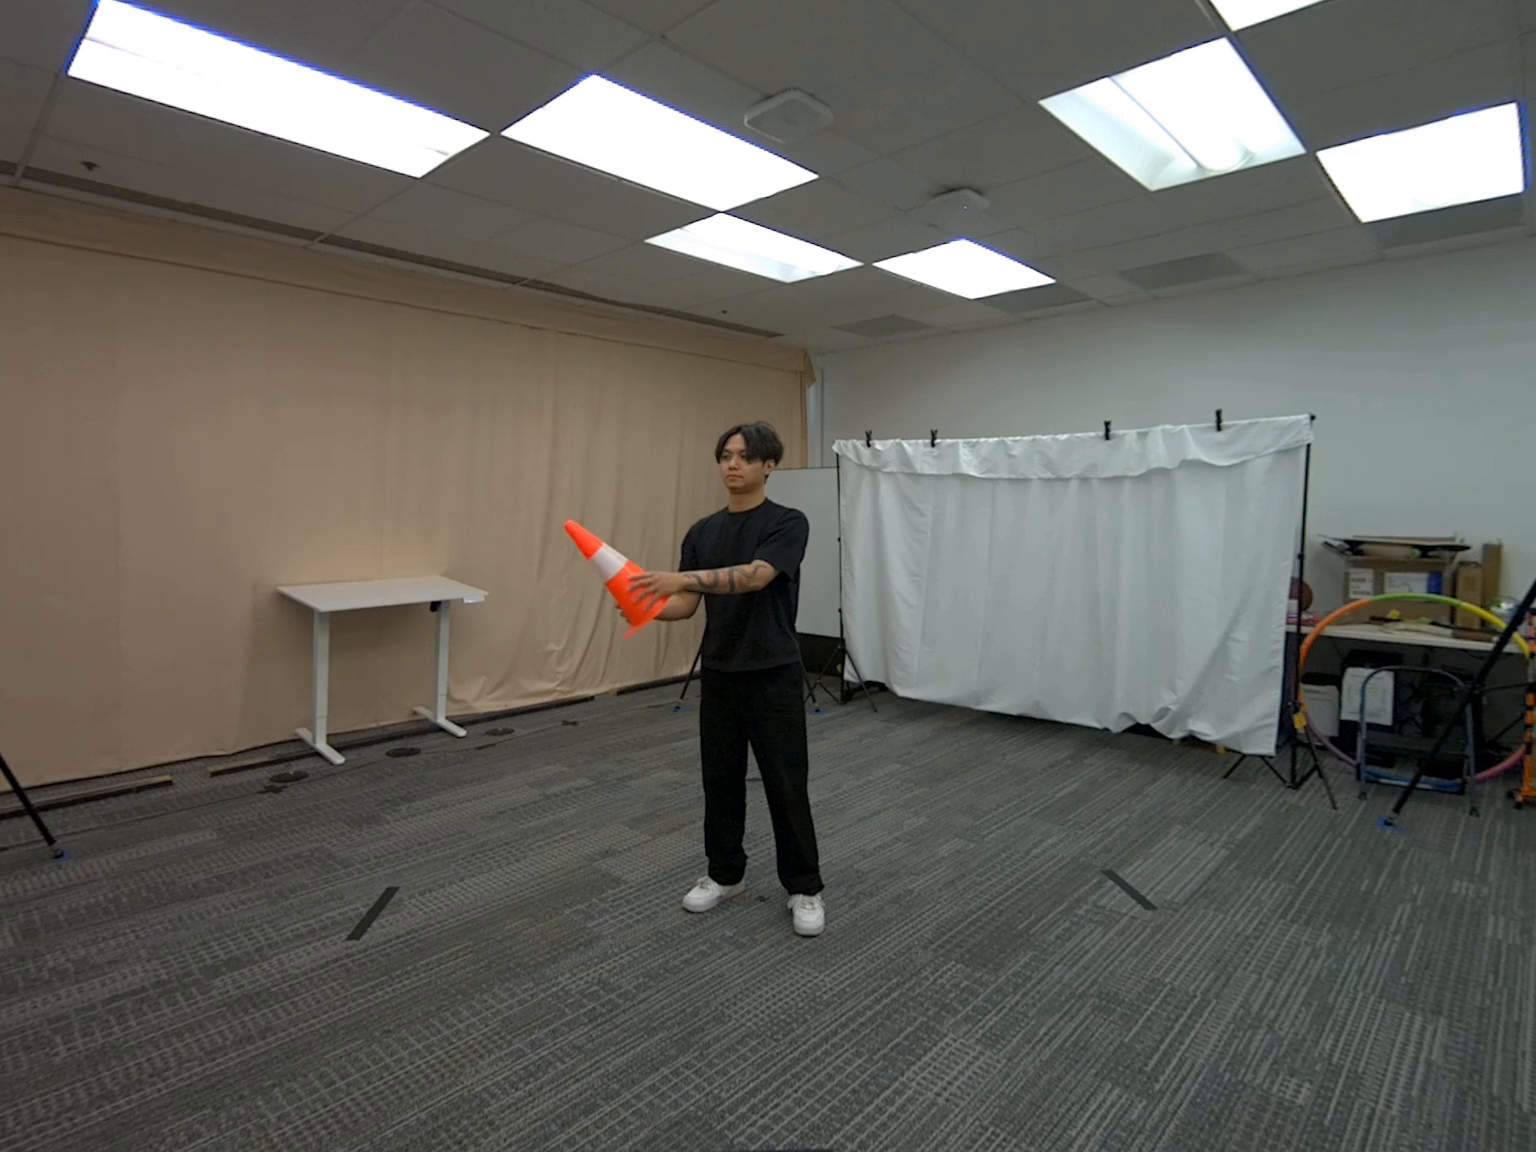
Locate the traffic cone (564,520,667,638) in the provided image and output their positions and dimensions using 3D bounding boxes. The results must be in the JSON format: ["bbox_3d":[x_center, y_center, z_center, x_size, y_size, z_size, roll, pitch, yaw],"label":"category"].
[{"bbox_3d":[-0.487,-0.022,2.606,0.207,0.378,0.204,-29,20,52],"label":"traffic cone"}]
